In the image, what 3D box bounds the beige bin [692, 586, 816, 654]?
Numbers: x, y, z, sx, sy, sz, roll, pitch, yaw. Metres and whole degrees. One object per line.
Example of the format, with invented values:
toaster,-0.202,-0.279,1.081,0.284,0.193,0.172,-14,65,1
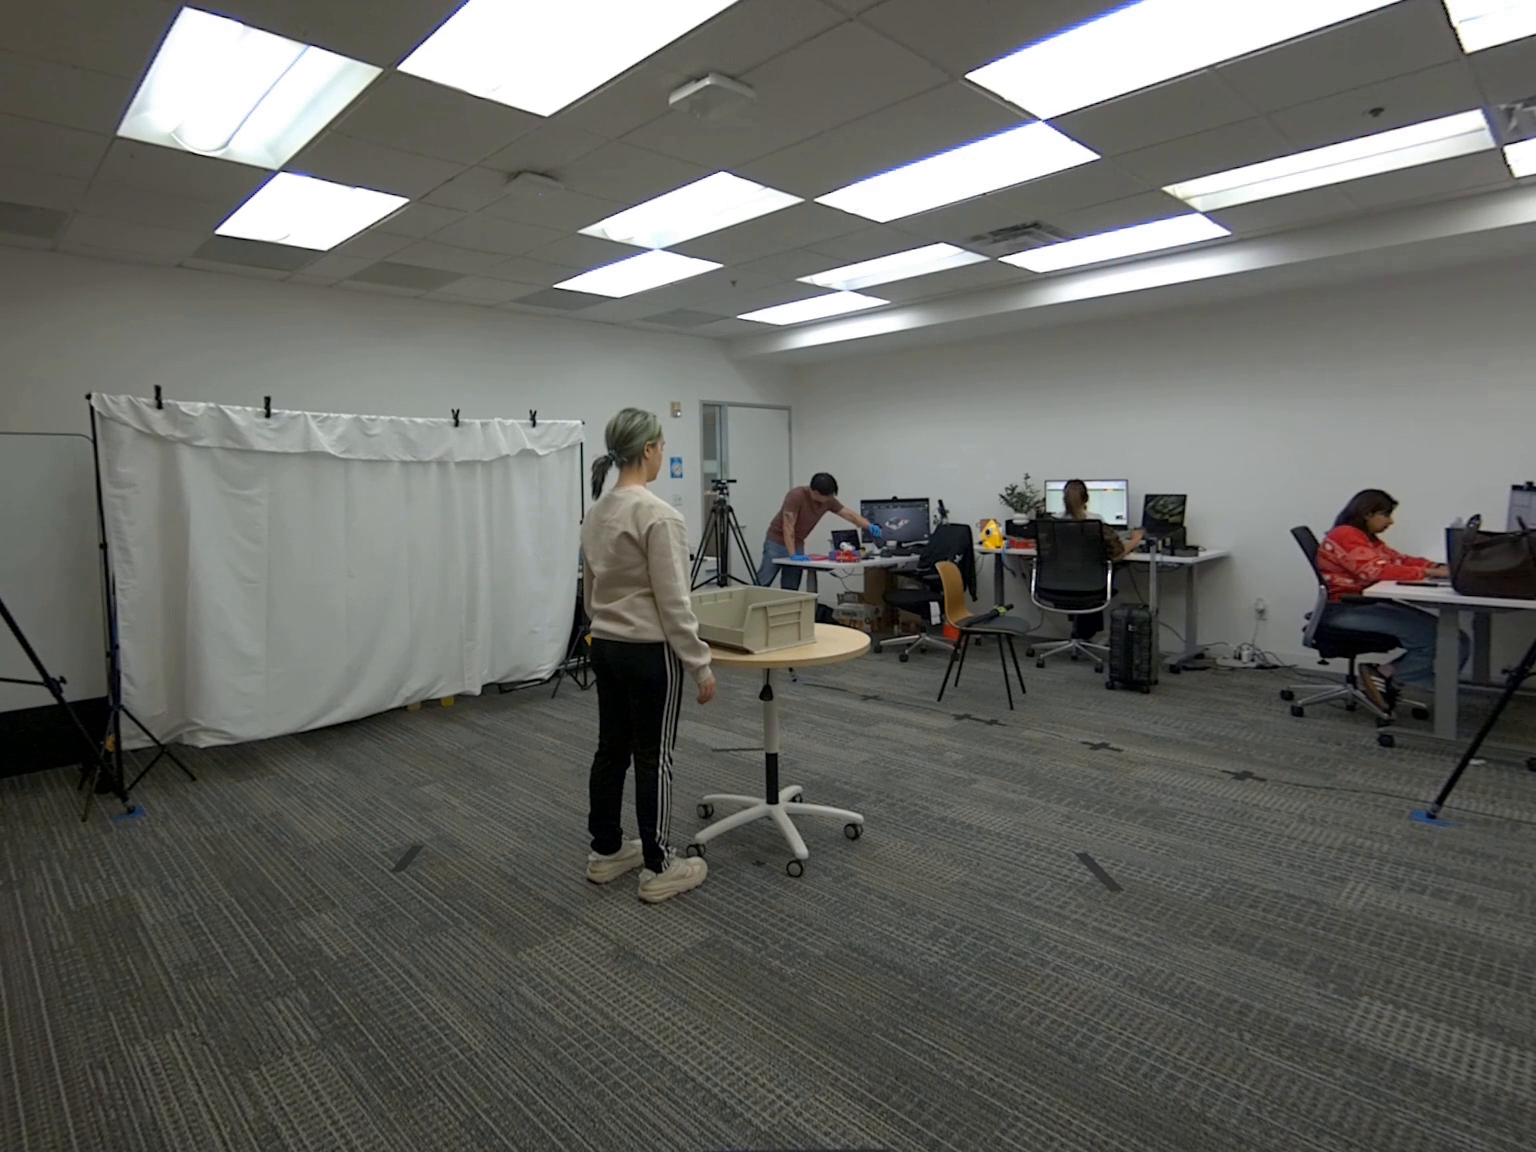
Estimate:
beige bin,-0.083,0.162,3.235,0.367,0.188,0.435,-5,7,-40
